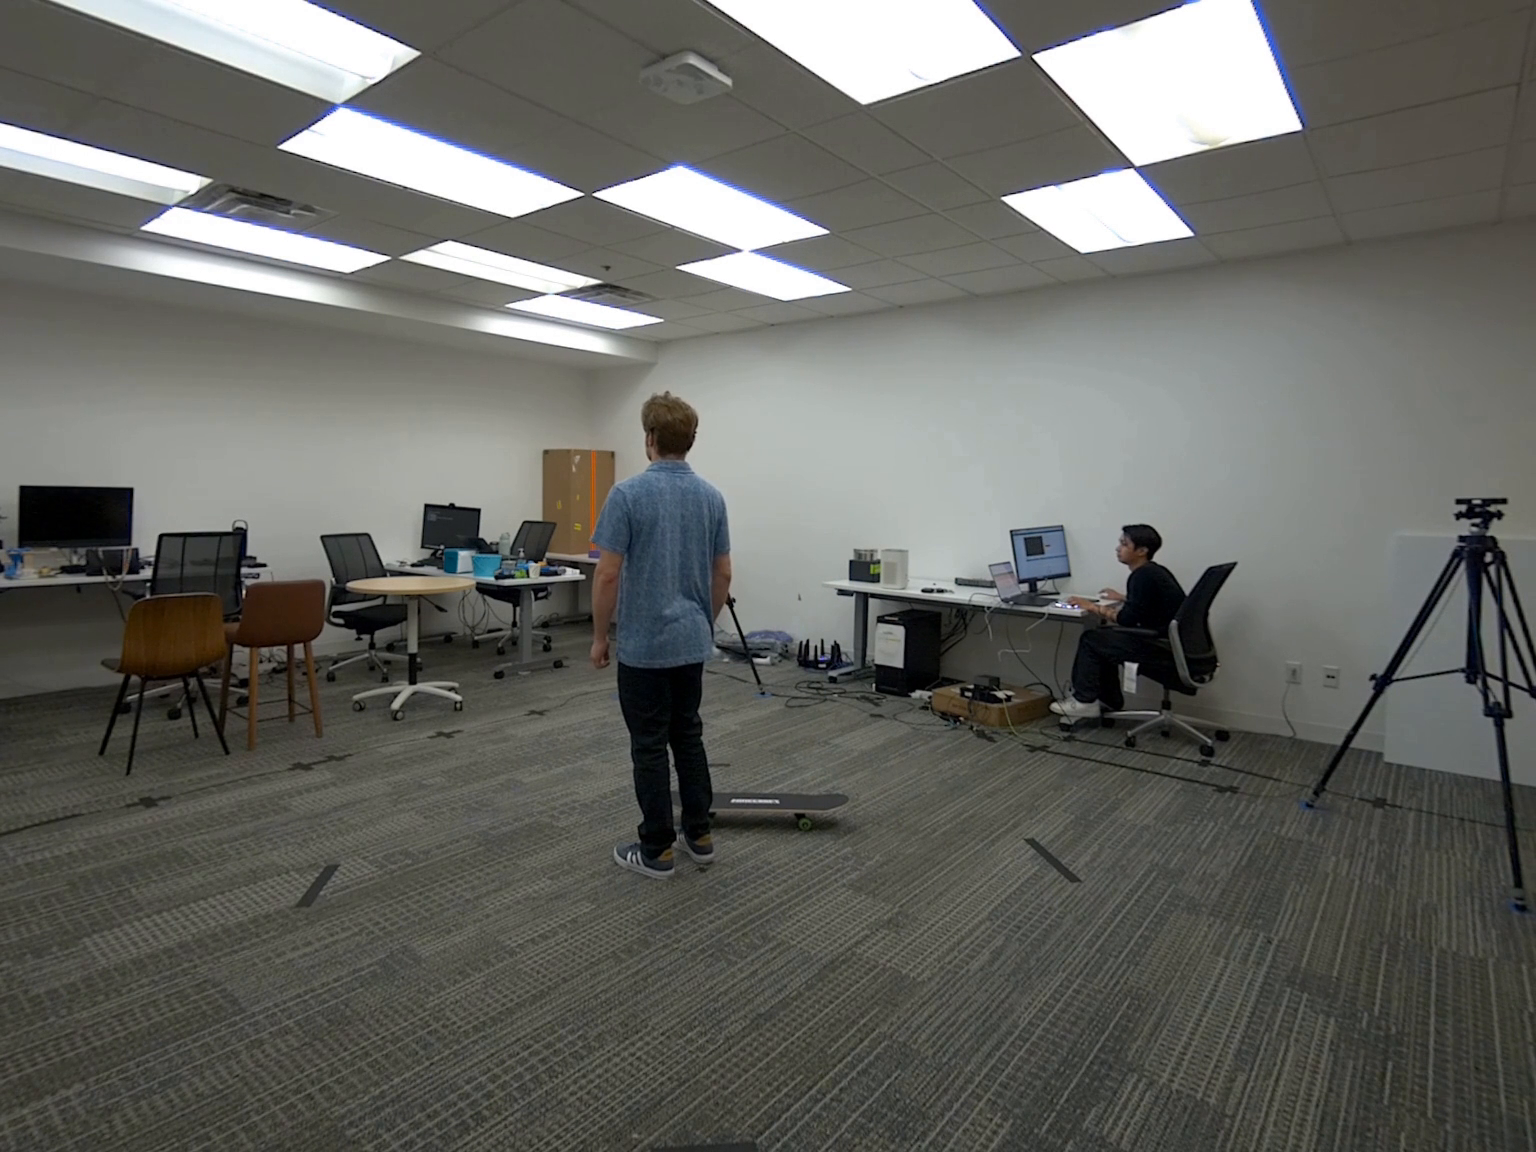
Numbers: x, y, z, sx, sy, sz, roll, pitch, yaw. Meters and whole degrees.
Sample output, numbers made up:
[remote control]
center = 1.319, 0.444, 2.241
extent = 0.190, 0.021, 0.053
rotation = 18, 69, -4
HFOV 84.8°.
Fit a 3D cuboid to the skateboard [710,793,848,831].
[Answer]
[skateboard]
center = -0.064, 0.968, 3.562
extent = 0.786, 0.110, 0.194
rotation = 1, 5, 0
